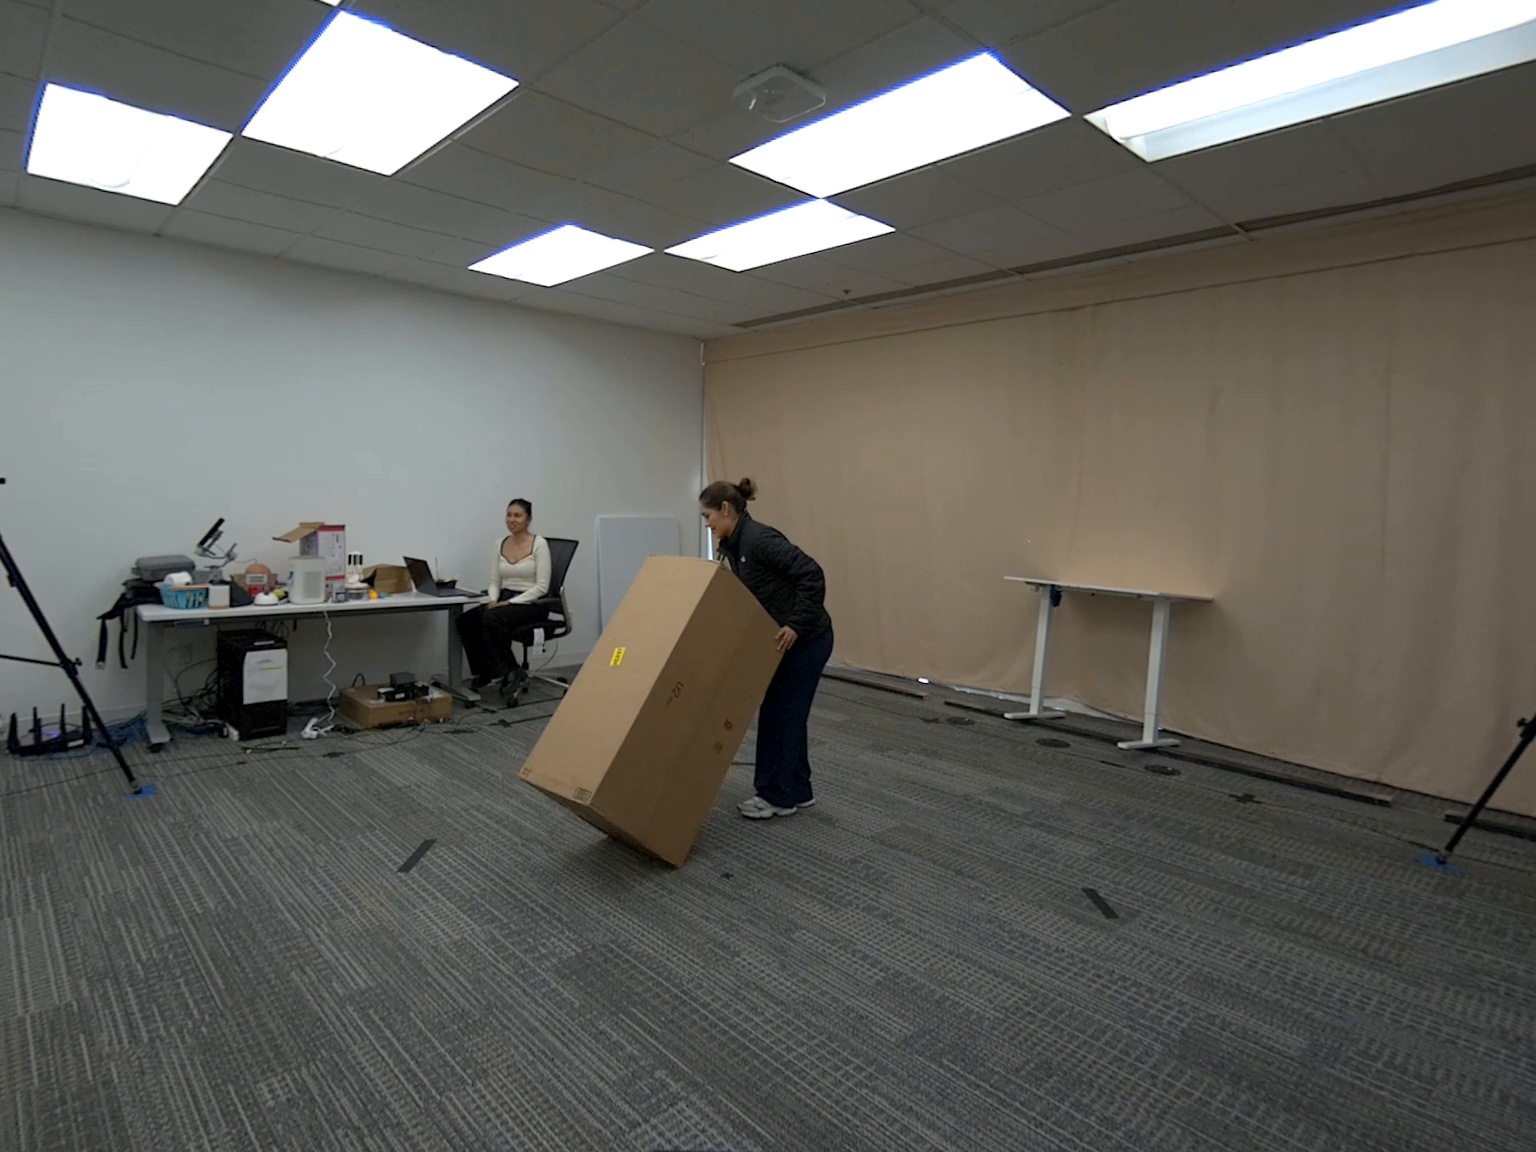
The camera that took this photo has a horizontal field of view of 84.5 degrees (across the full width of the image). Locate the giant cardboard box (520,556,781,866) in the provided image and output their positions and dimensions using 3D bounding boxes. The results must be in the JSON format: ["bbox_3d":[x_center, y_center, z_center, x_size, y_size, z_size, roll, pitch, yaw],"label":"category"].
[{"bbox_3d":[-0.416,0.506,3.324,0.458,1.034,0.566,3,-34,41],"label":"giant cardboard box"}]
